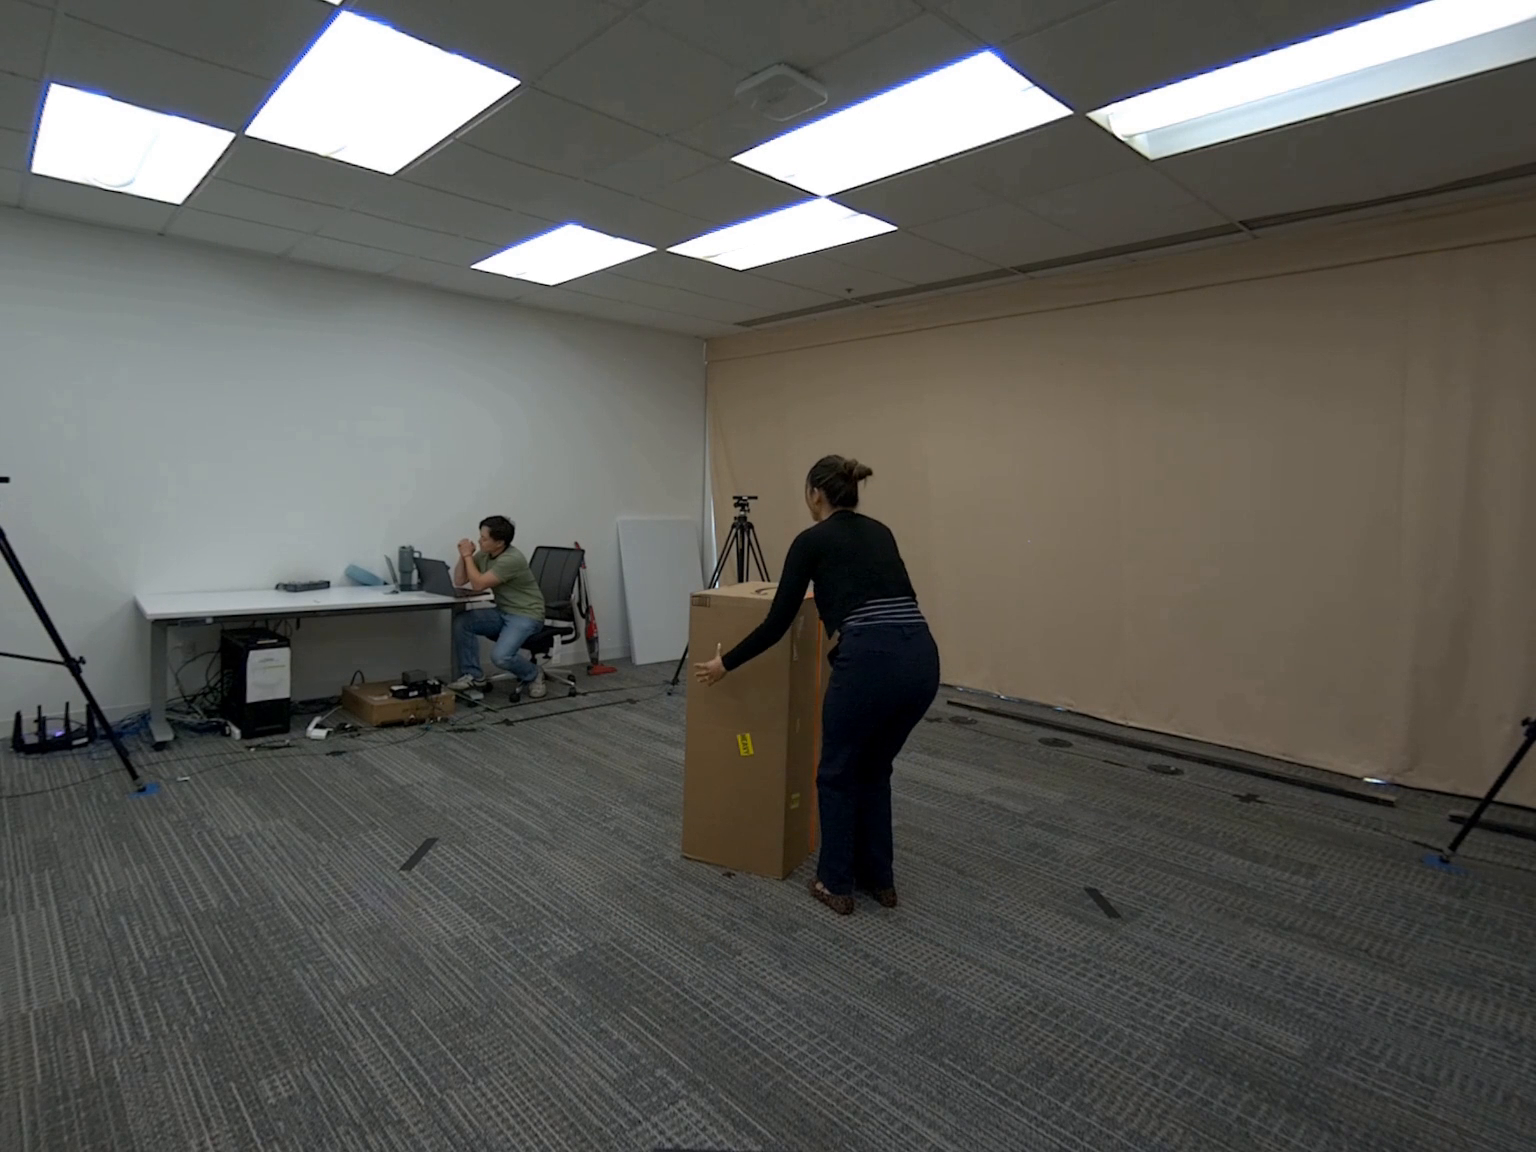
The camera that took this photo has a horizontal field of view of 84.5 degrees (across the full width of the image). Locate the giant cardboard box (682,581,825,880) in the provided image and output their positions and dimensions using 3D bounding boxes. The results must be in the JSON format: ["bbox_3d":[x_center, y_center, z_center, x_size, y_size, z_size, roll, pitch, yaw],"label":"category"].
[{"bbox_3d":[-0.022,0.570,3.389,0.434,1.023,0.568,3,3,24],"label":"giant cardboard box"}]
